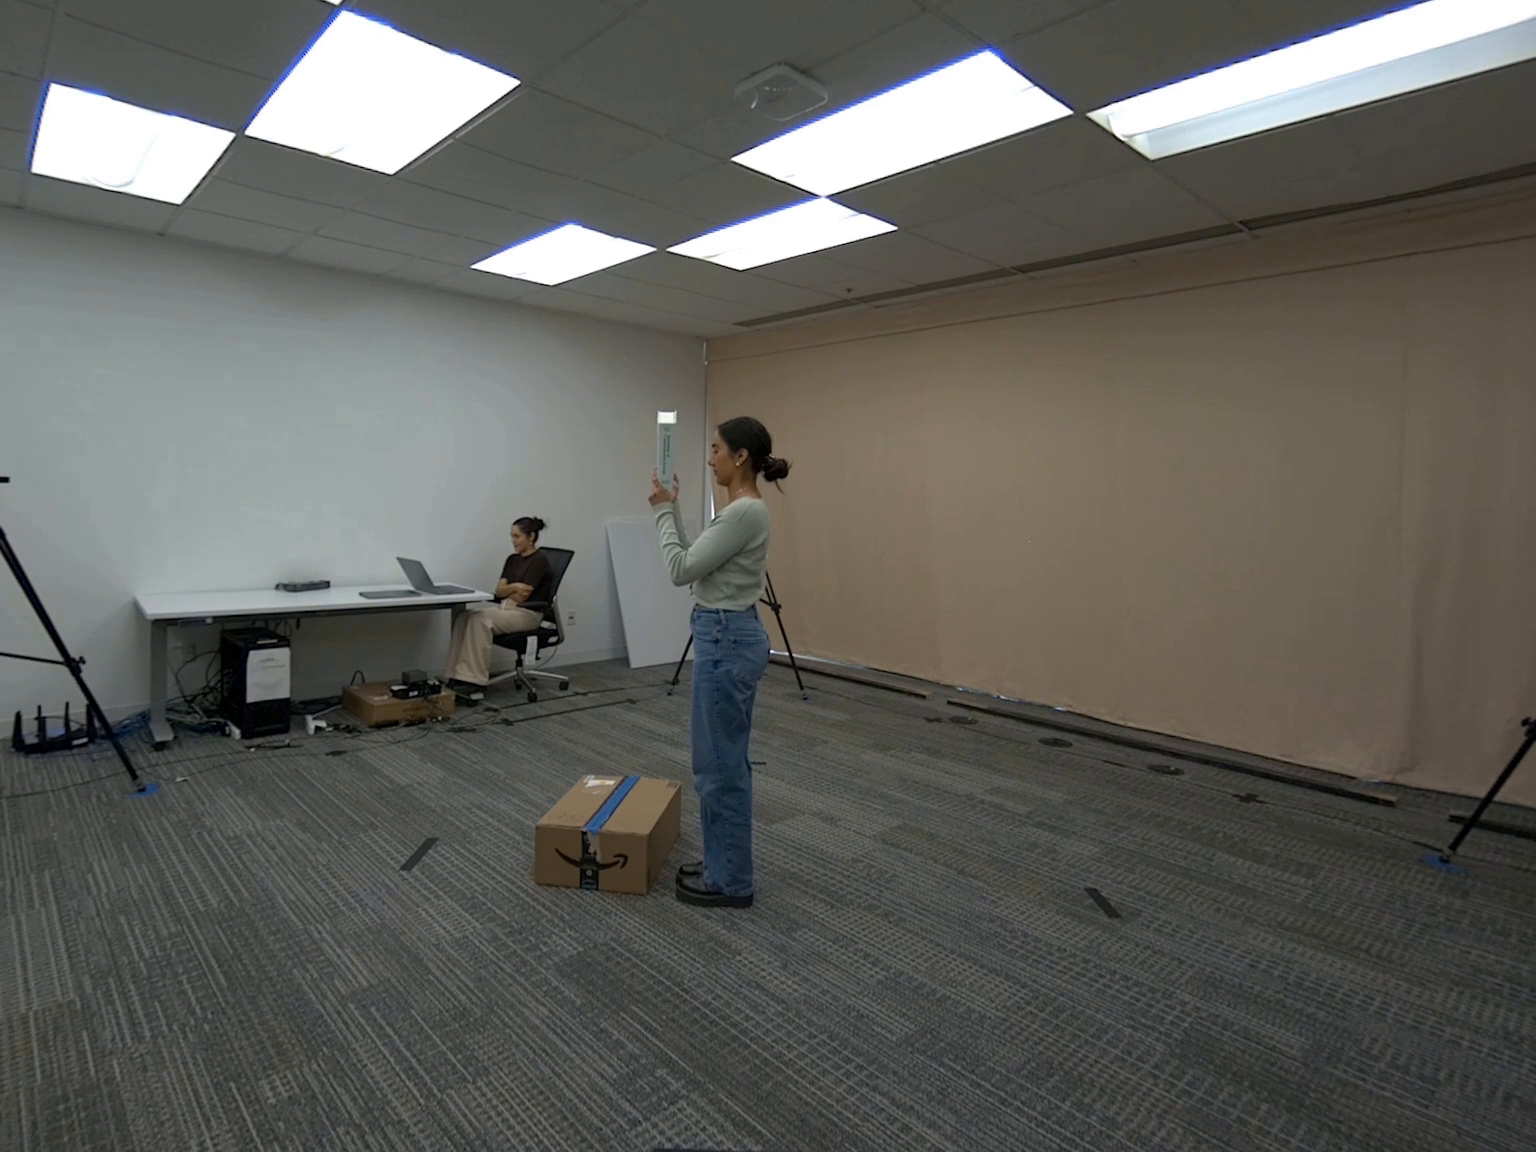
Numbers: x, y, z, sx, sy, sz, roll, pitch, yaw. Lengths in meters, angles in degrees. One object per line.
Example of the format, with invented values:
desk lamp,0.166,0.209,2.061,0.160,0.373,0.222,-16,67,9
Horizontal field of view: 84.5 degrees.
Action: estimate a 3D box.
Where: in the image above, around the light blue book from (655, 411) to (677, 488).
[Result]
light blue book,-0.355,-0.424,2.920,0.059,0.257,0.194,2,22,-5
